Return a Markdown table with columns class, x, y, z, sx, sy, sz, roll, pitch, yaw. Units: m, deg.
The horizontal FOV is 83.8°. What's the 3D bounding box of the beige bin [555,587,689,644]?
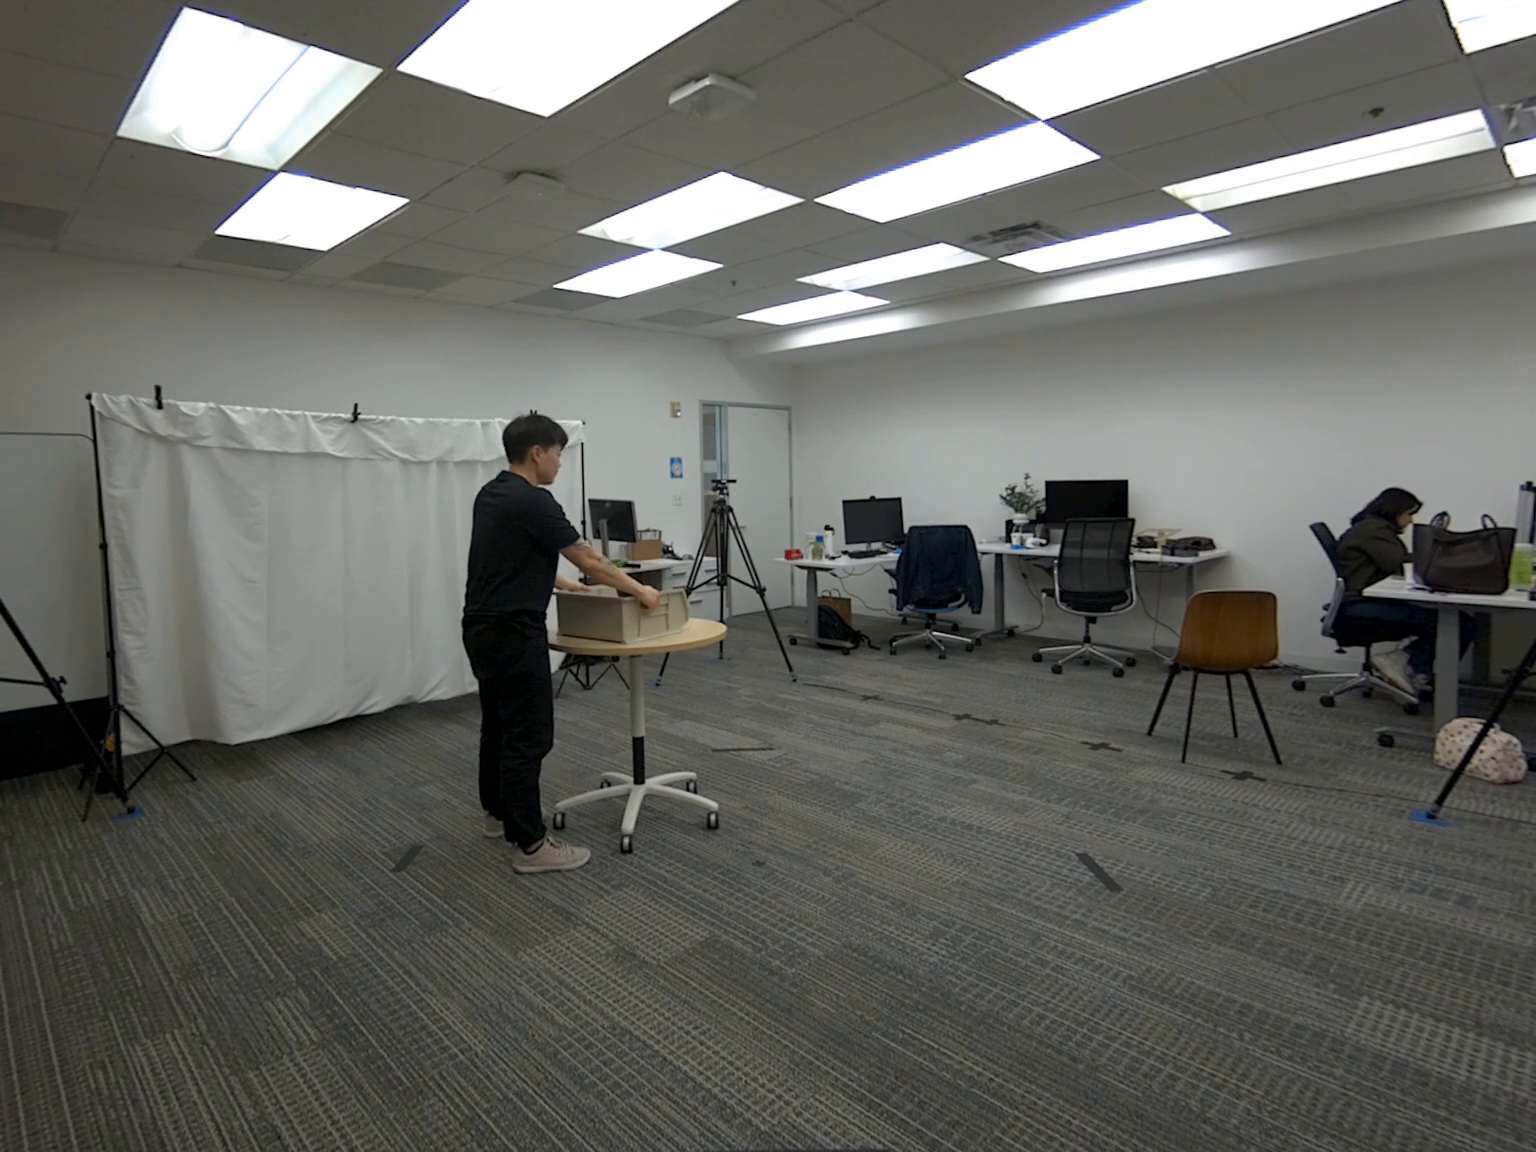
| class | x | y | z | sx | sy | sz | roll | pitch | yaw |
| --- | --- | --- | --- | --- | --- | --- | --- | --- | --- |
| beige bin | -0.598 | 0.147 | 3.487 | 0.435 | 0.188 | 0.368 | 3 | 8 | 37 |
